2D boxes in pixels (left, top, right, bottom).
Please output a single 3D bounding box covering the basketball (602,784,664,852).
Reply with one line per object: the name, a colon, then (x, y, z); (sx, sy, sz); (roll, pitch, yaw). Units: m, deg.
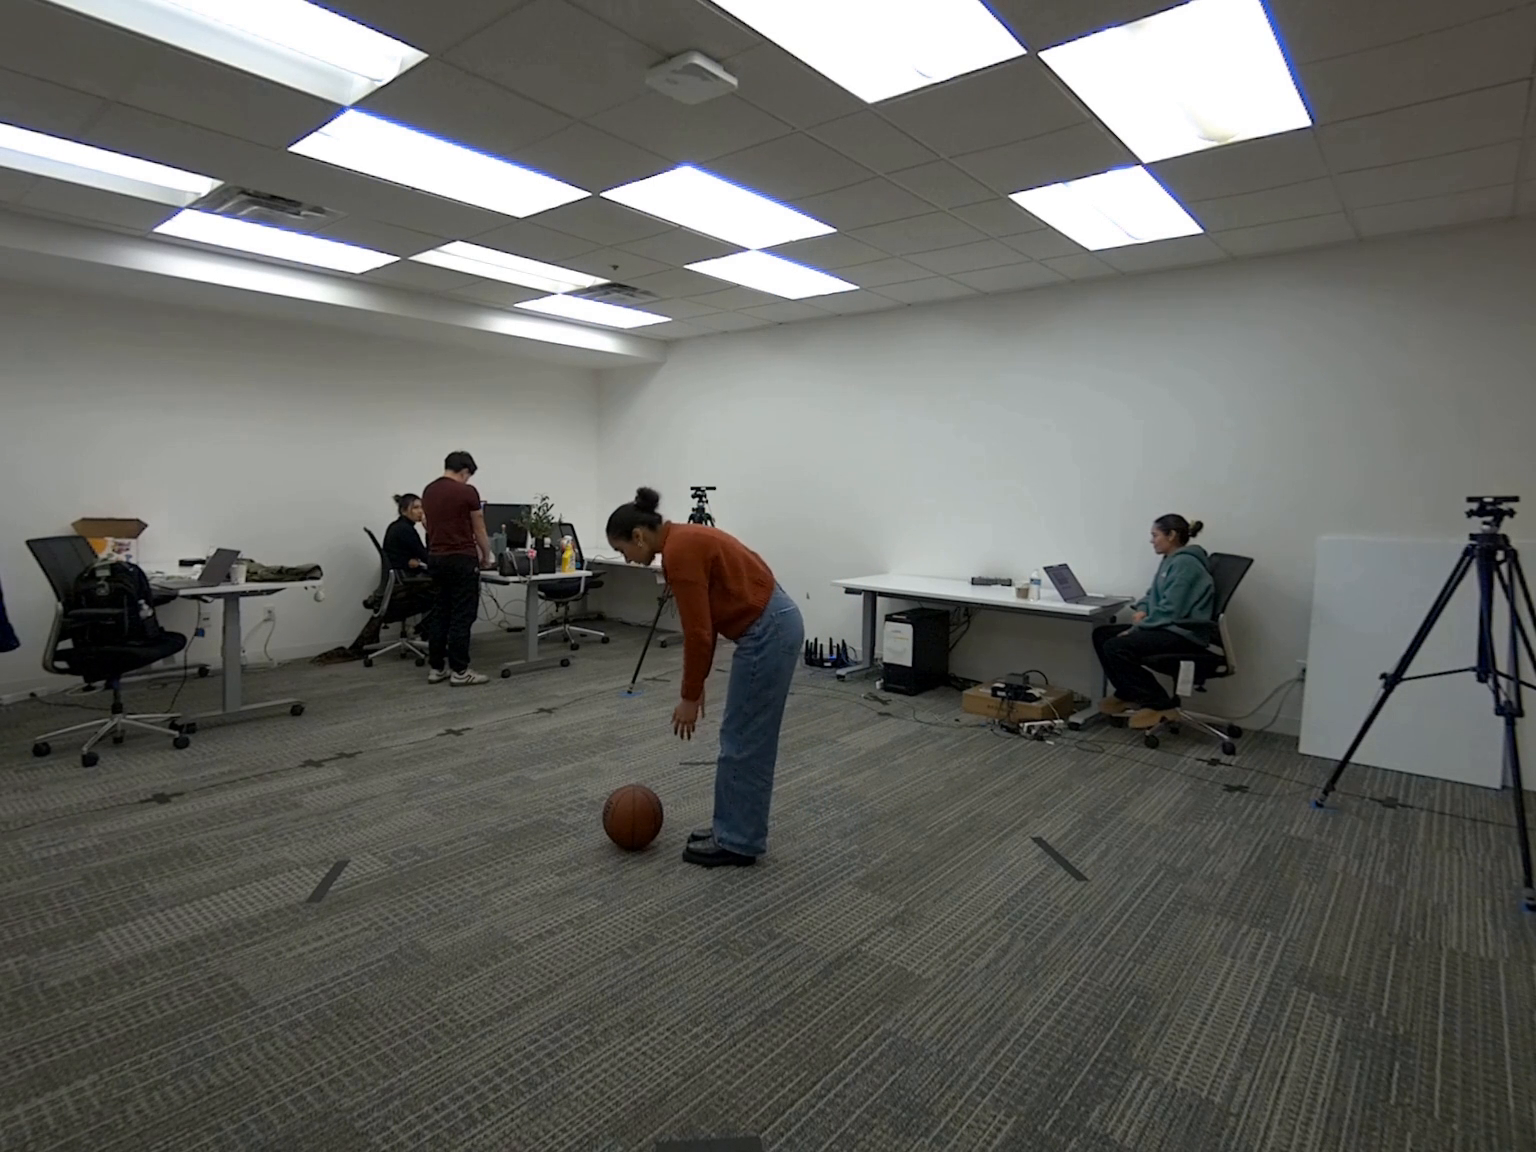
basketball: (-0.531, 0.922, 3.292); (0.236, 0.235, 0.237); (1, 4, -2)
